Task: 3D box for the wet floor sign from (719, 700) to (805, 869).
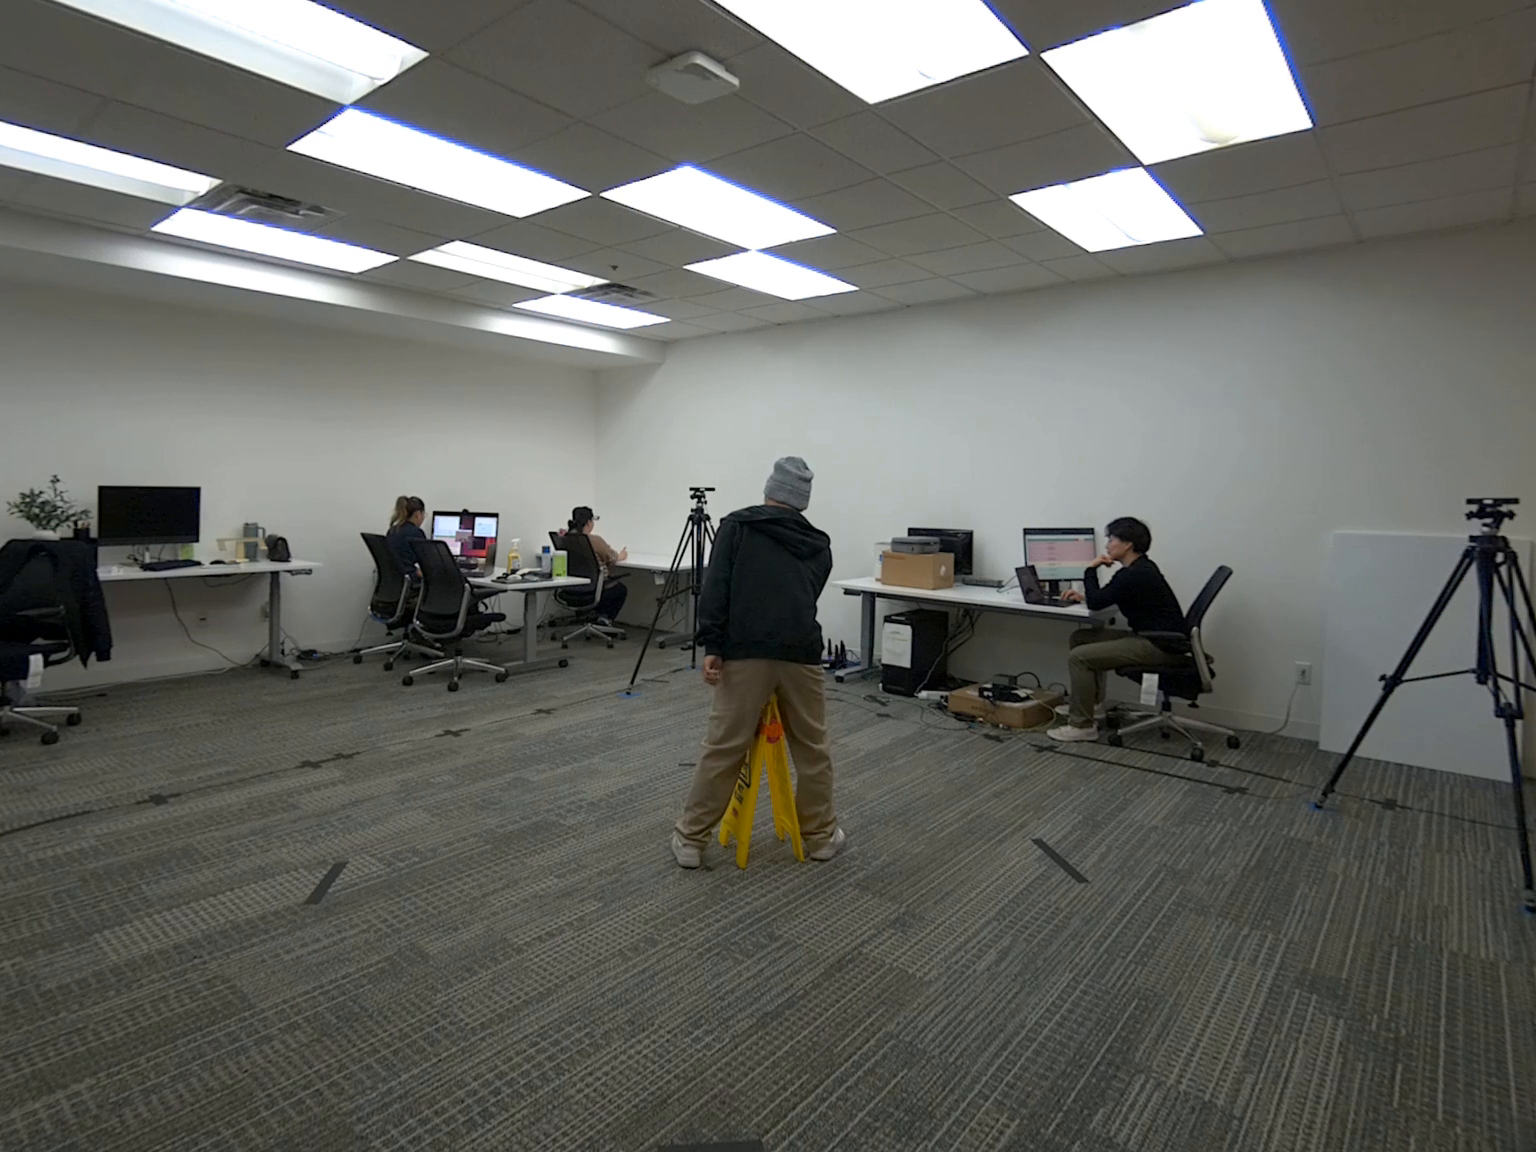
[{"bbox_3d":[-0.028,0.733,3.264,0.284,0.644,0.288,1,3,-18],"label":"wet floor sign"}]
